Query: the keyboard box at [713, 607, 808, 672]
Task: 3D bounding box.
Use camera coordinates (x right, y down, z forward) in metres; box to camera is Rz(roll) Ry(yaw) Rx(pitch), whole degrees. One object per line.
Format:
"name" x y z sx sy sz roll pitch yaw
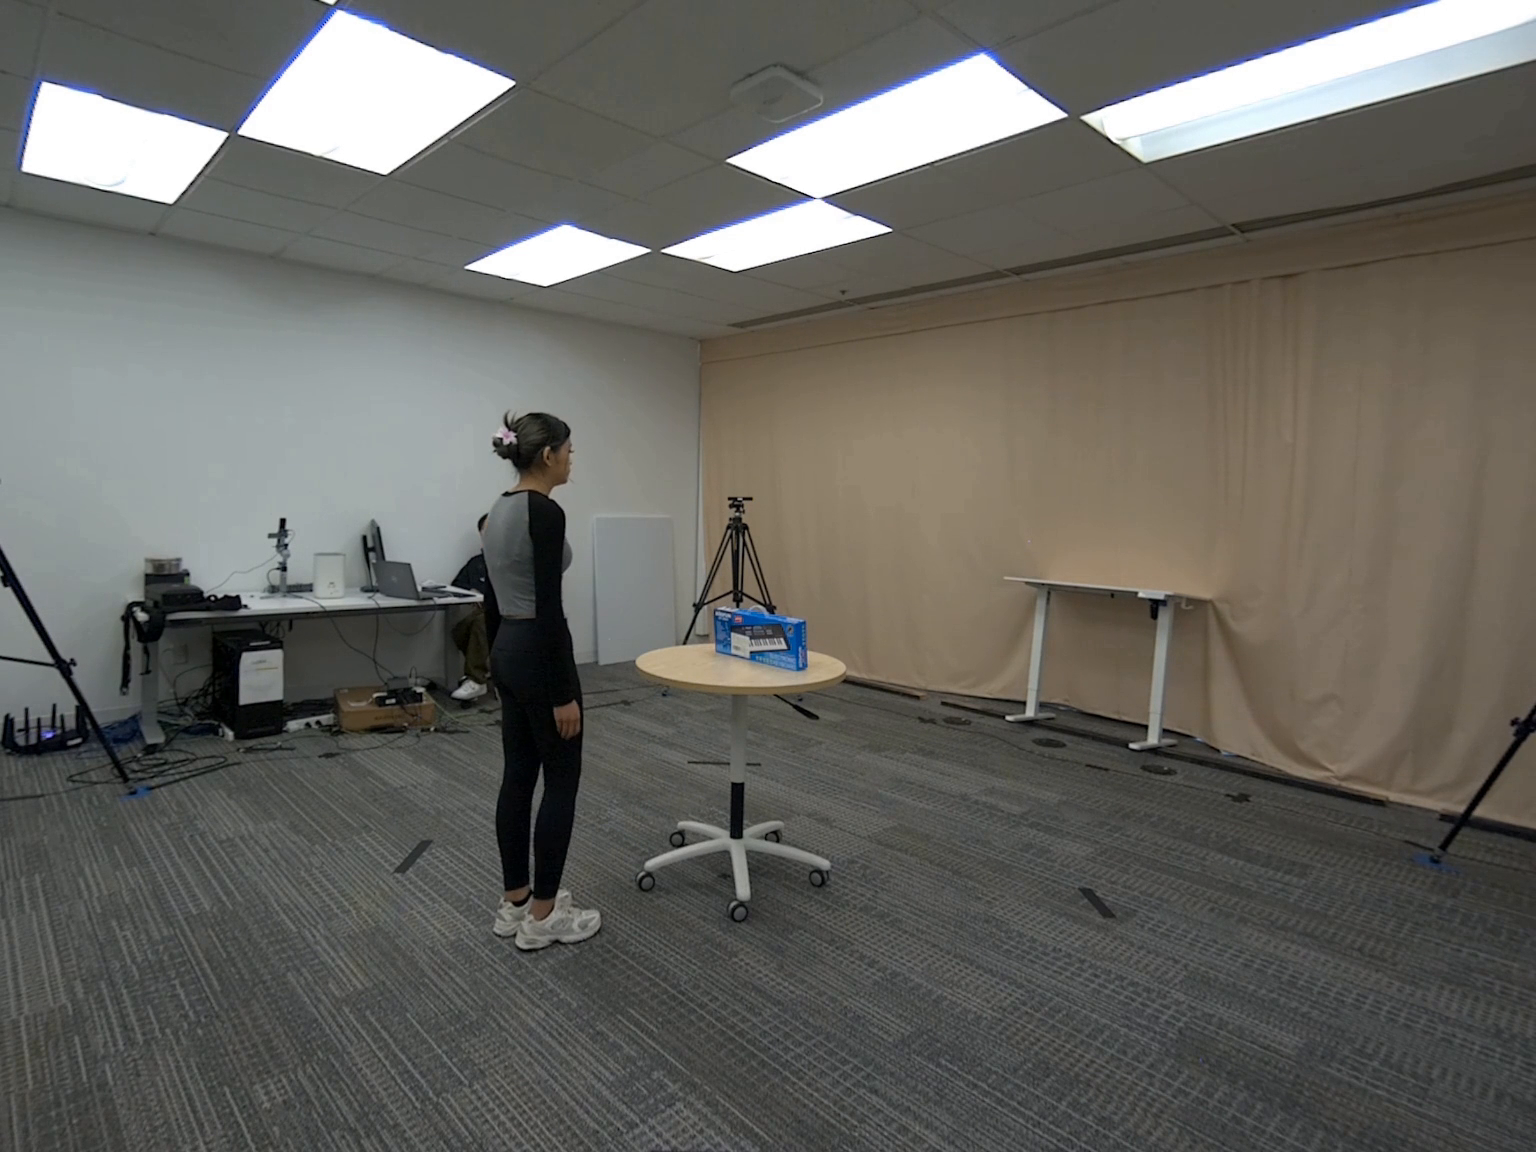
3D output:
"keyboard box" -0.041 0.229 3.119 0.058 0.175 0.448 -8 10 -43
